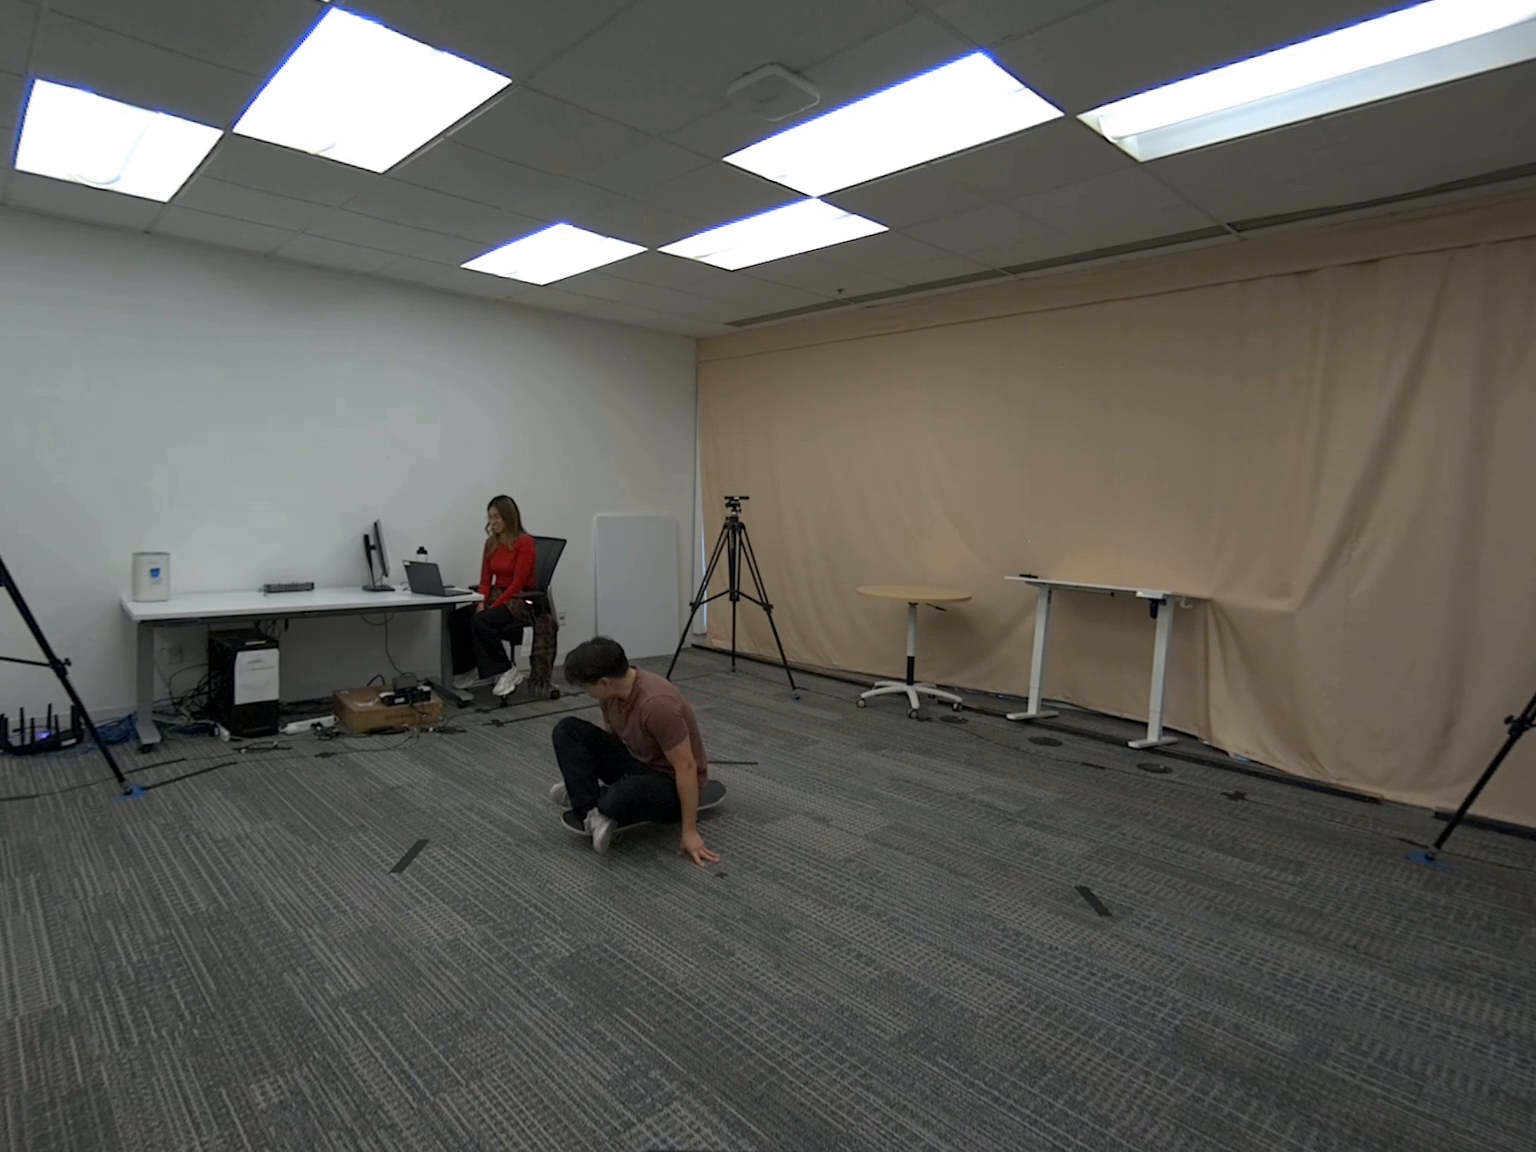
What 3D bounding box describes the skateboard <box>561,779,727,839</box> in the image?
[{"bbox_3d":[-0.534,0.999,3.565,0.768,0.109,0.199,2,14,-34],"label":"skateboard"}]
